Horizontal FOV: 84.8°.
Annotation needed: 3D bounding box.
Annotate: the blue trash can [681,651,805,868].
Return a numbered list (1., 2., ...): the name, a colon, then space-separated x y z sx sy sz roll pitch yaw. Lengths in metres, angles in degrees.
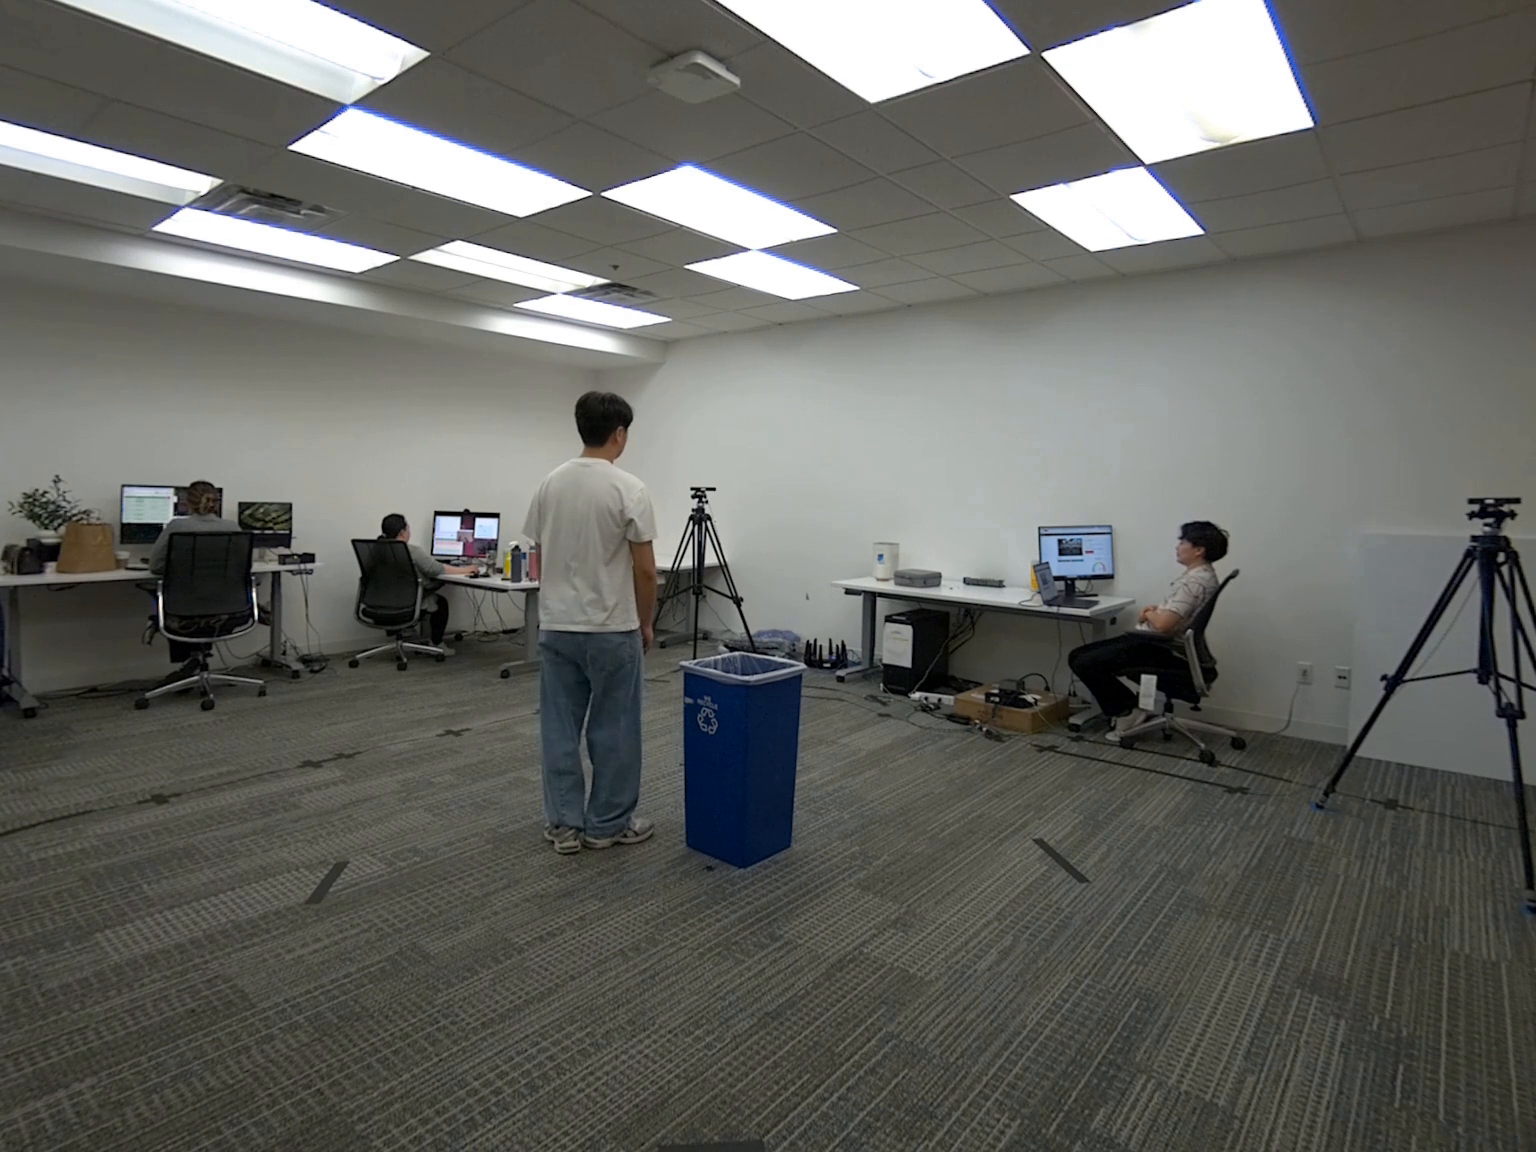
1. blue trash can: -0.106 0.691 3.291 0.386 0.711 0.367 3 4 40
